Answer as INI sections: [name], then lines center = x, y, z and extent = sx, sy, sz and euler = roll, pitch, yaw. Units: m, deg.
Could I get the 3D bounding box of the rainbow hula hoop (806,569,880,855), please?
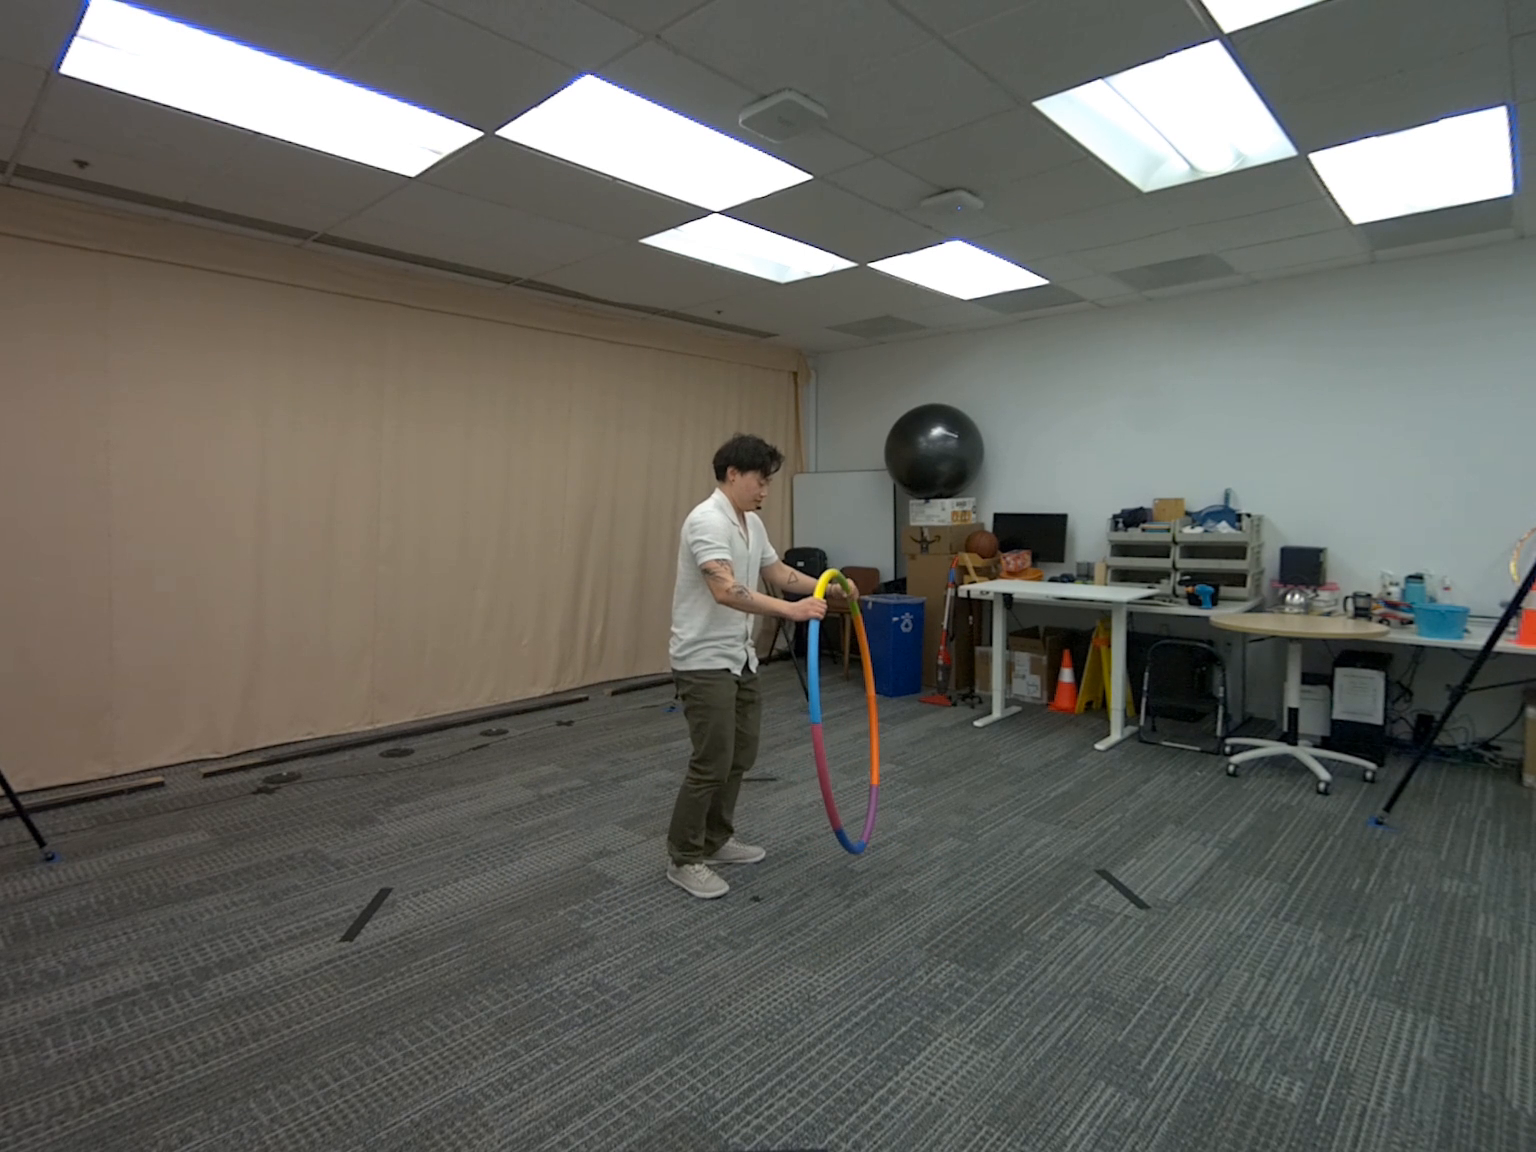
[rainbow hula hoop]
center = 0.289, 0.480, 2.998
extent = 0.036, 0.978, 0.962
euler = -7, 1, 17
